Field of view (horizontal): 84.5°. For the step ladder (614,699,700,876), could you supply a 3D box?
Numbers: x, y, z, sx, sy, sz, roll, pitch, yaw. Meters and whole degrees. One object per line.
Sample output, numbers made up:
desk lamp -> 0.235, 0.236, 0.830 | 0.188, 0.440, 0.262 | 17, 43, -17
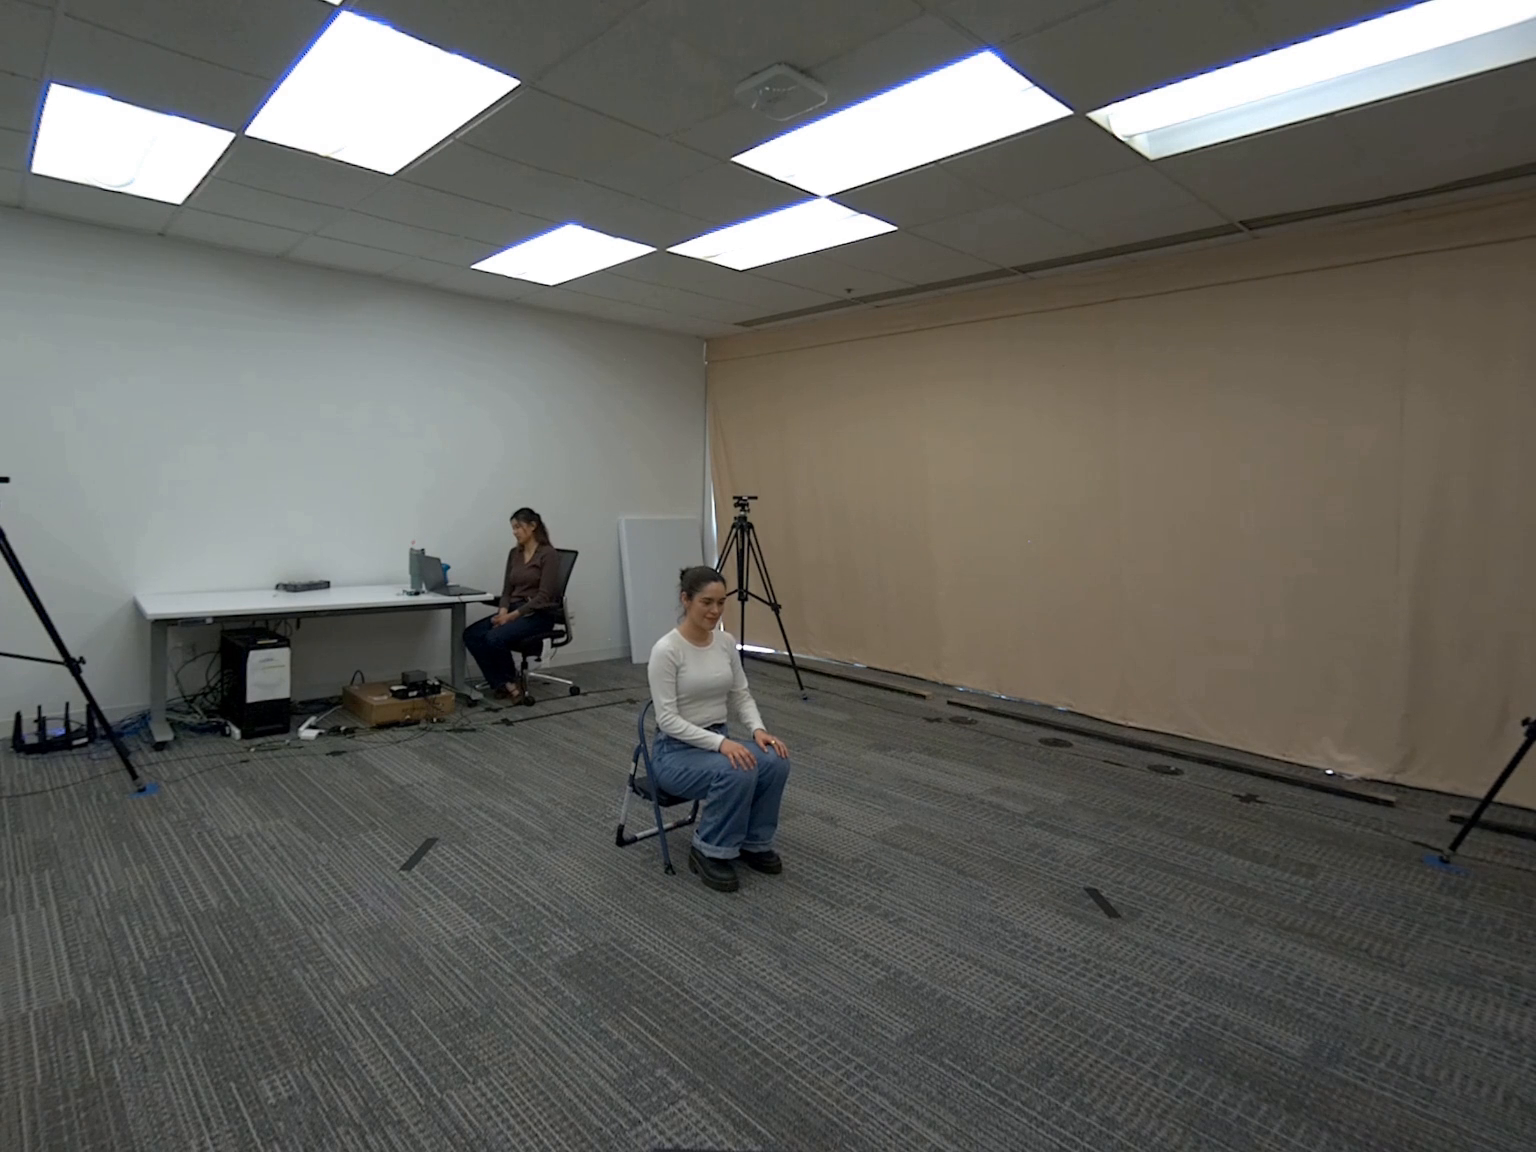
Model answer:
step ladder -> -0.342, 0.772, 3.347 | 0.358, 0.605, 0.421 | 5, 5, 44
